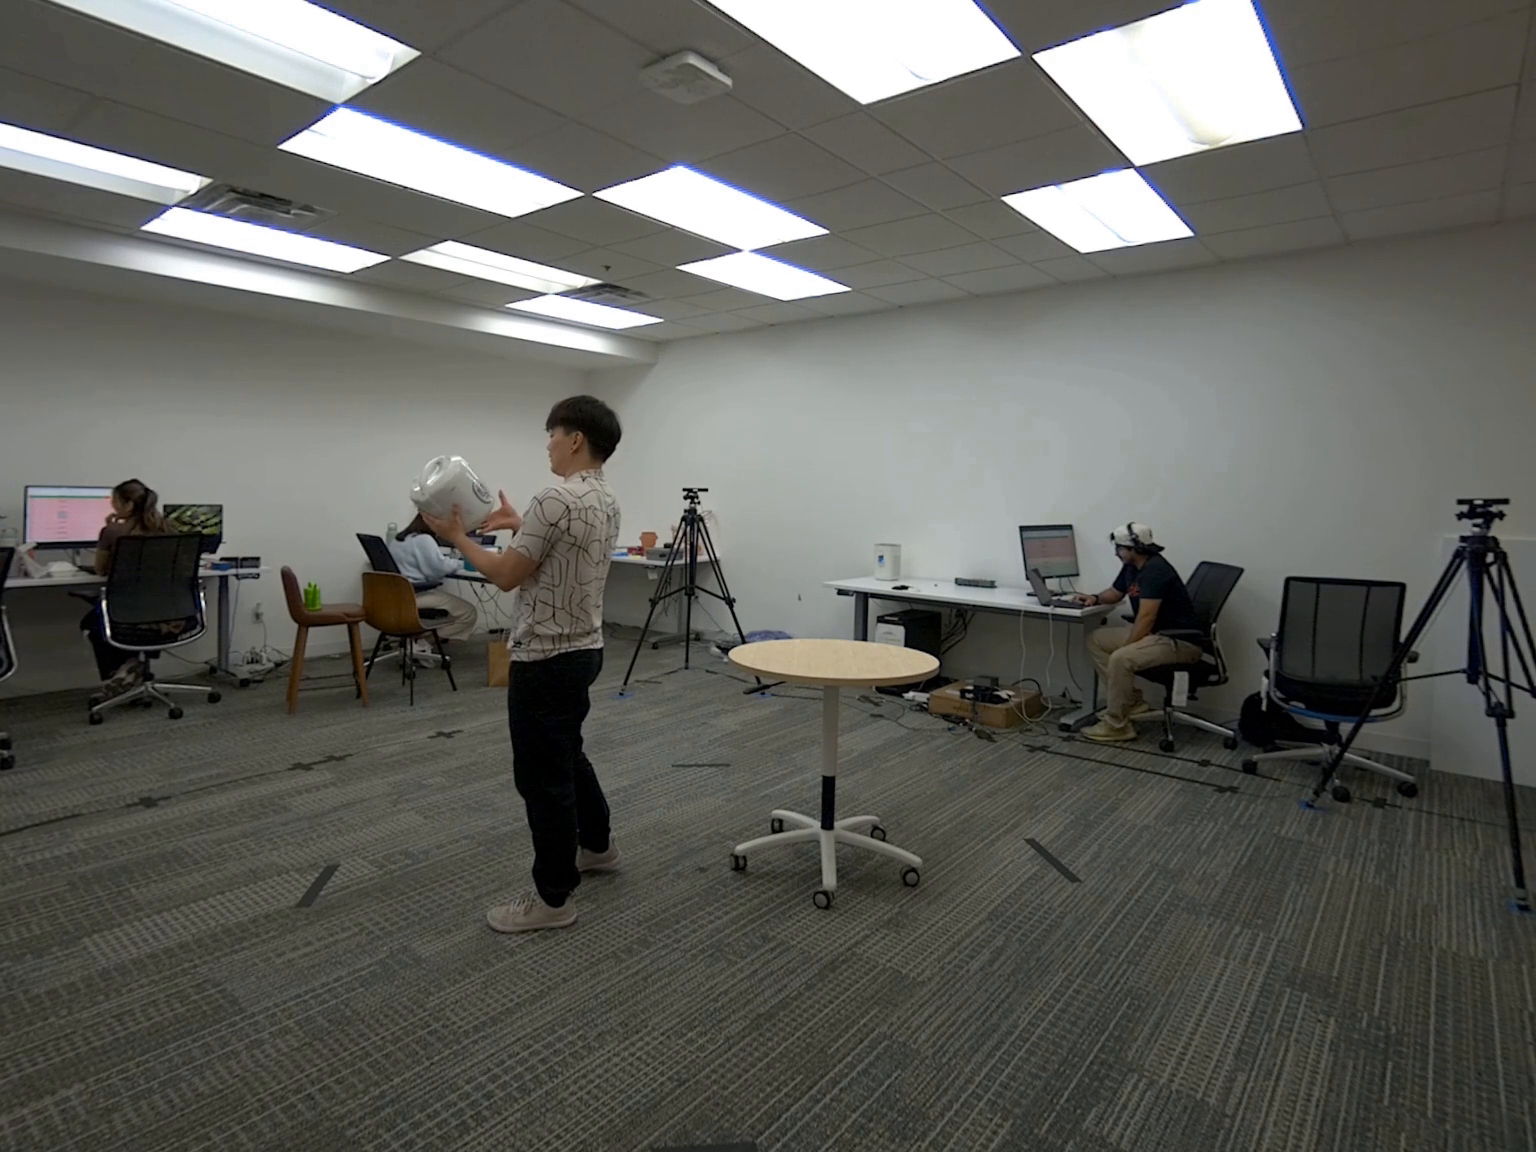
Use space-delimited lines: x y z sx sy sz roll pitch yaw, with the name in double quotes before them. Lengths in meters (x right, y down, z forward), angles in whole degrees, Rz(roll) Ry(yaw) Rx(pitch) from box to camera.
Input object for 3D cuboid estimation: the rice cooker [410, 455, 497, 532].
"rice cooker" -1.031 -0.269 2.748 0.221 0.224 0.225 -17 40 24
